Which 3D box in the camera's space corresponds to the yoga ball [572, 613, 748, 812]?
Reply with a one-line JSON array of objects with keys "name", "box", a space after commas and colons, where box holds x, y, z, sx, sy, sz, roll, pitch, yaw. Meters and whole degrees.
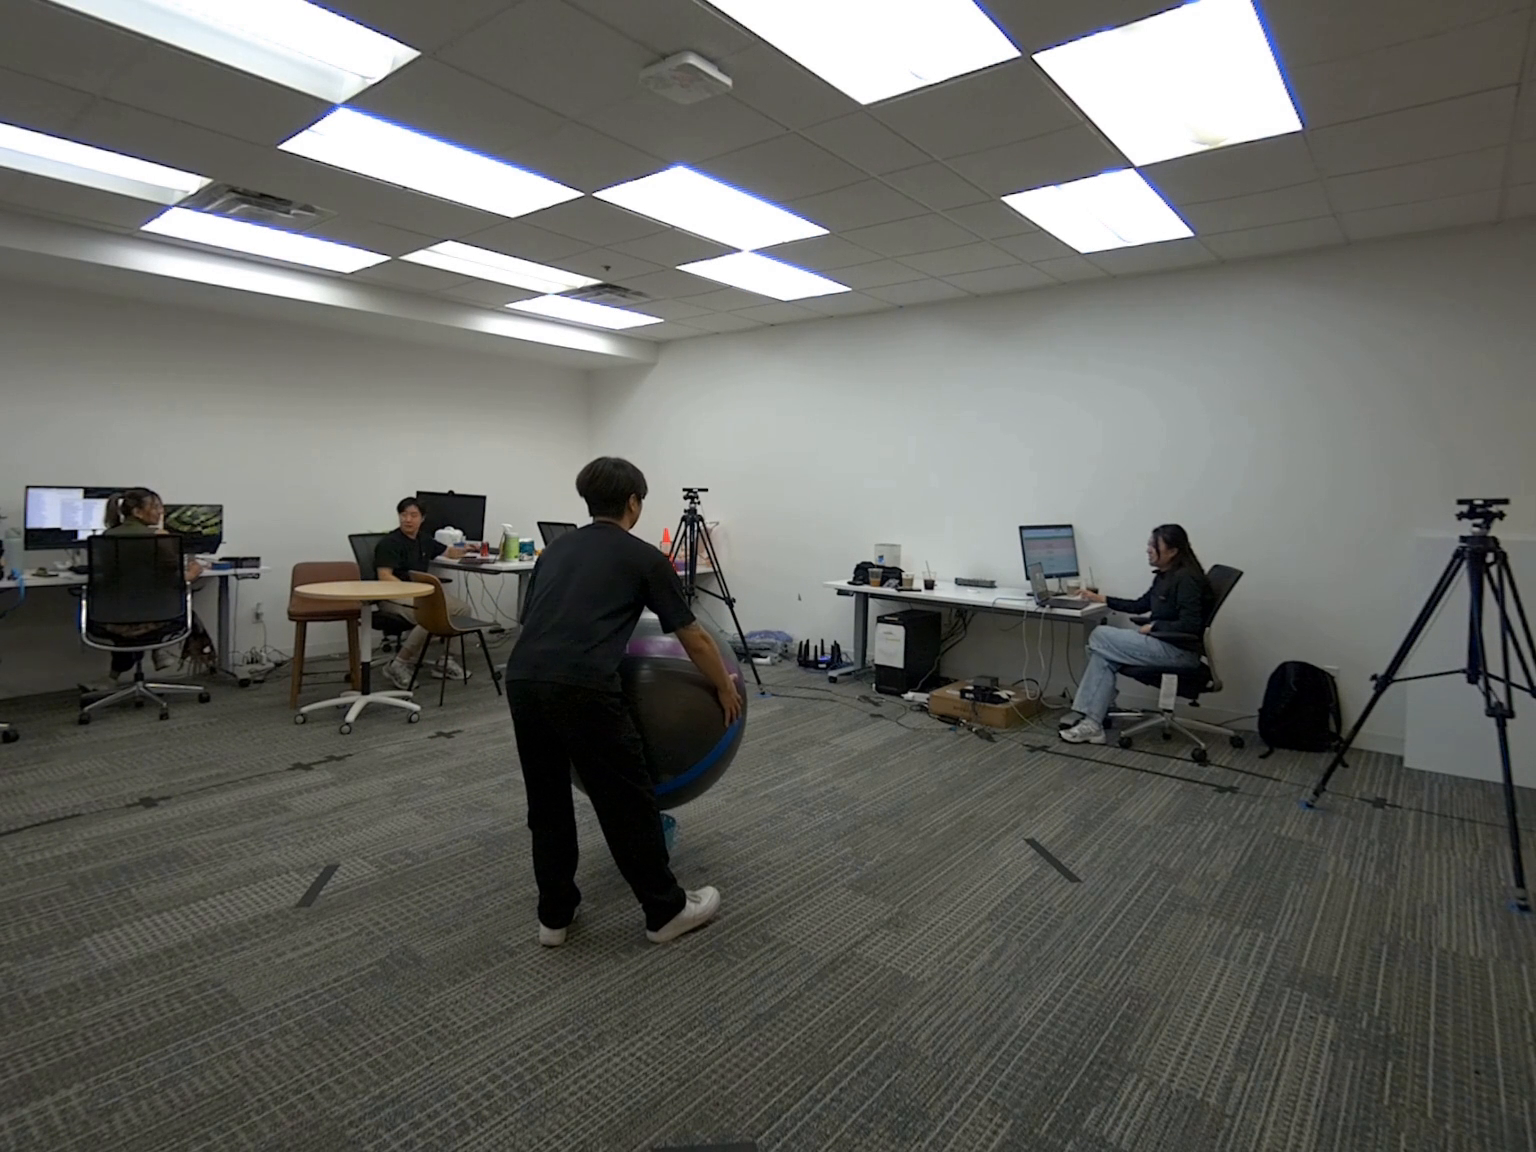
[{"name": "yoga ball", "box": [-0.457, 0.471, 3.131, 0.757, 0.755, 0.762, 1, 4, -2]}]
